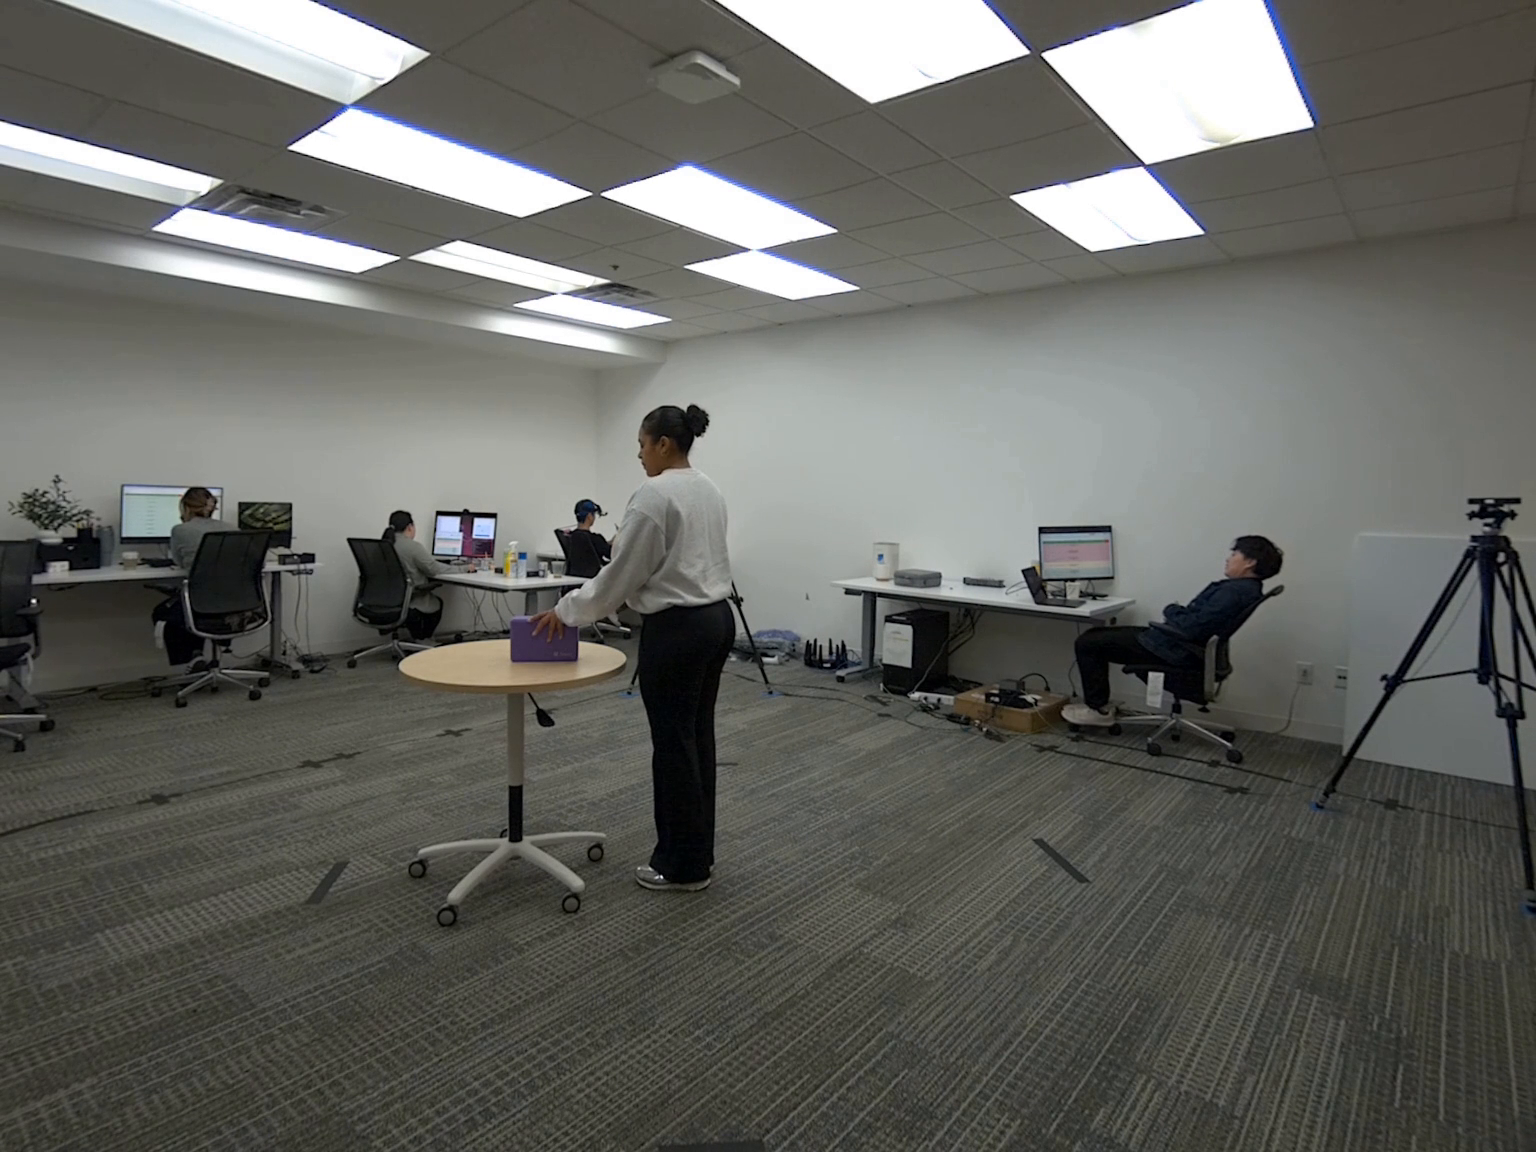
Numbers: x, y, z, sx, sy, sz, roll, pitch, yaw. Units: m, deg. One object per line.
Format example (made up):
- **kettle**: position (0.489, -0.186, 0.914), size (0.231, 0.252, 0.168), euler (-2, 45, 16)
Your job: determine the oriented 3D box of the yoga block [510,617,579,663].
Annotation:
- **yoga block**: position (-0.785, 0.220, 2.958), size (0.228, 0.148, 0.077), euler (2, 3, -6)
